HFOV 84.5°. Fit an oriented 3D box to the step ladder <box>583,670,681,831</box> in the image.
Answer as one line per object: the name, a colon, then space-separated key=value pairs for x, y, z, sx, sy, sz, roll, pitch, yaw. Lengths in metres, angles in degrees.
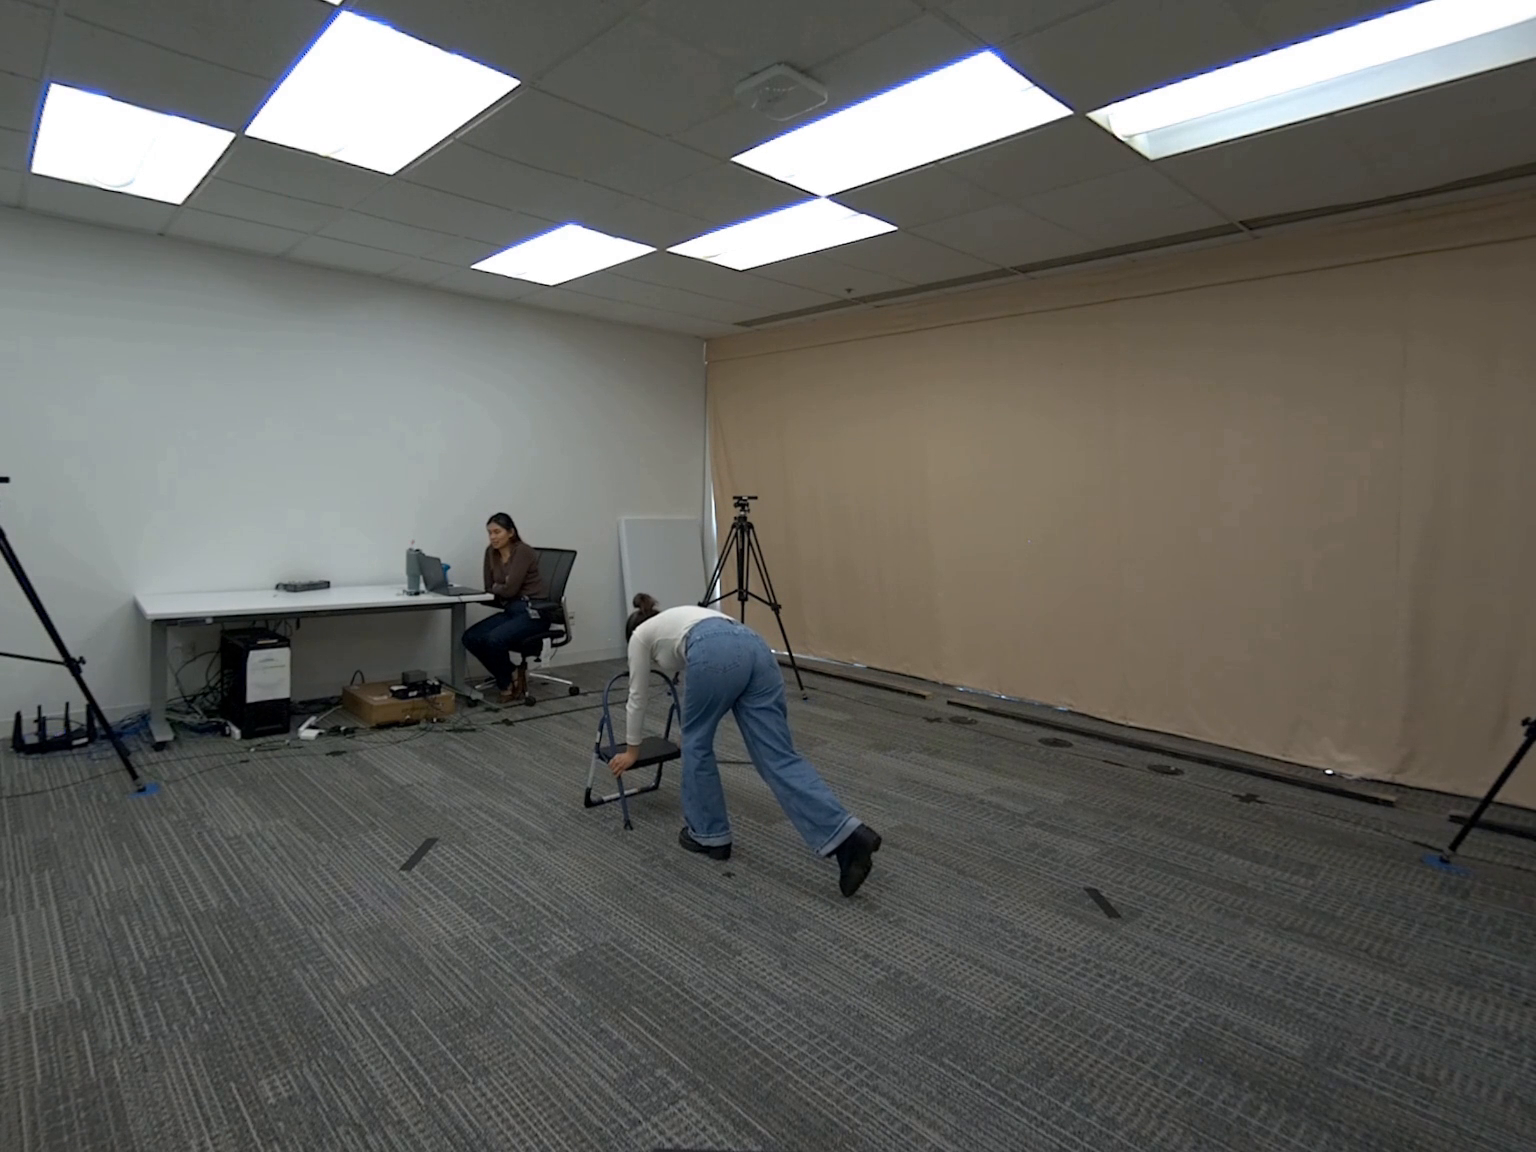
step ladder: x=-0.558 y=0.734 z=3.754 sx=0.358 sy=0.605 sz=0.421 roll=5 pitch=5 yaw=45
